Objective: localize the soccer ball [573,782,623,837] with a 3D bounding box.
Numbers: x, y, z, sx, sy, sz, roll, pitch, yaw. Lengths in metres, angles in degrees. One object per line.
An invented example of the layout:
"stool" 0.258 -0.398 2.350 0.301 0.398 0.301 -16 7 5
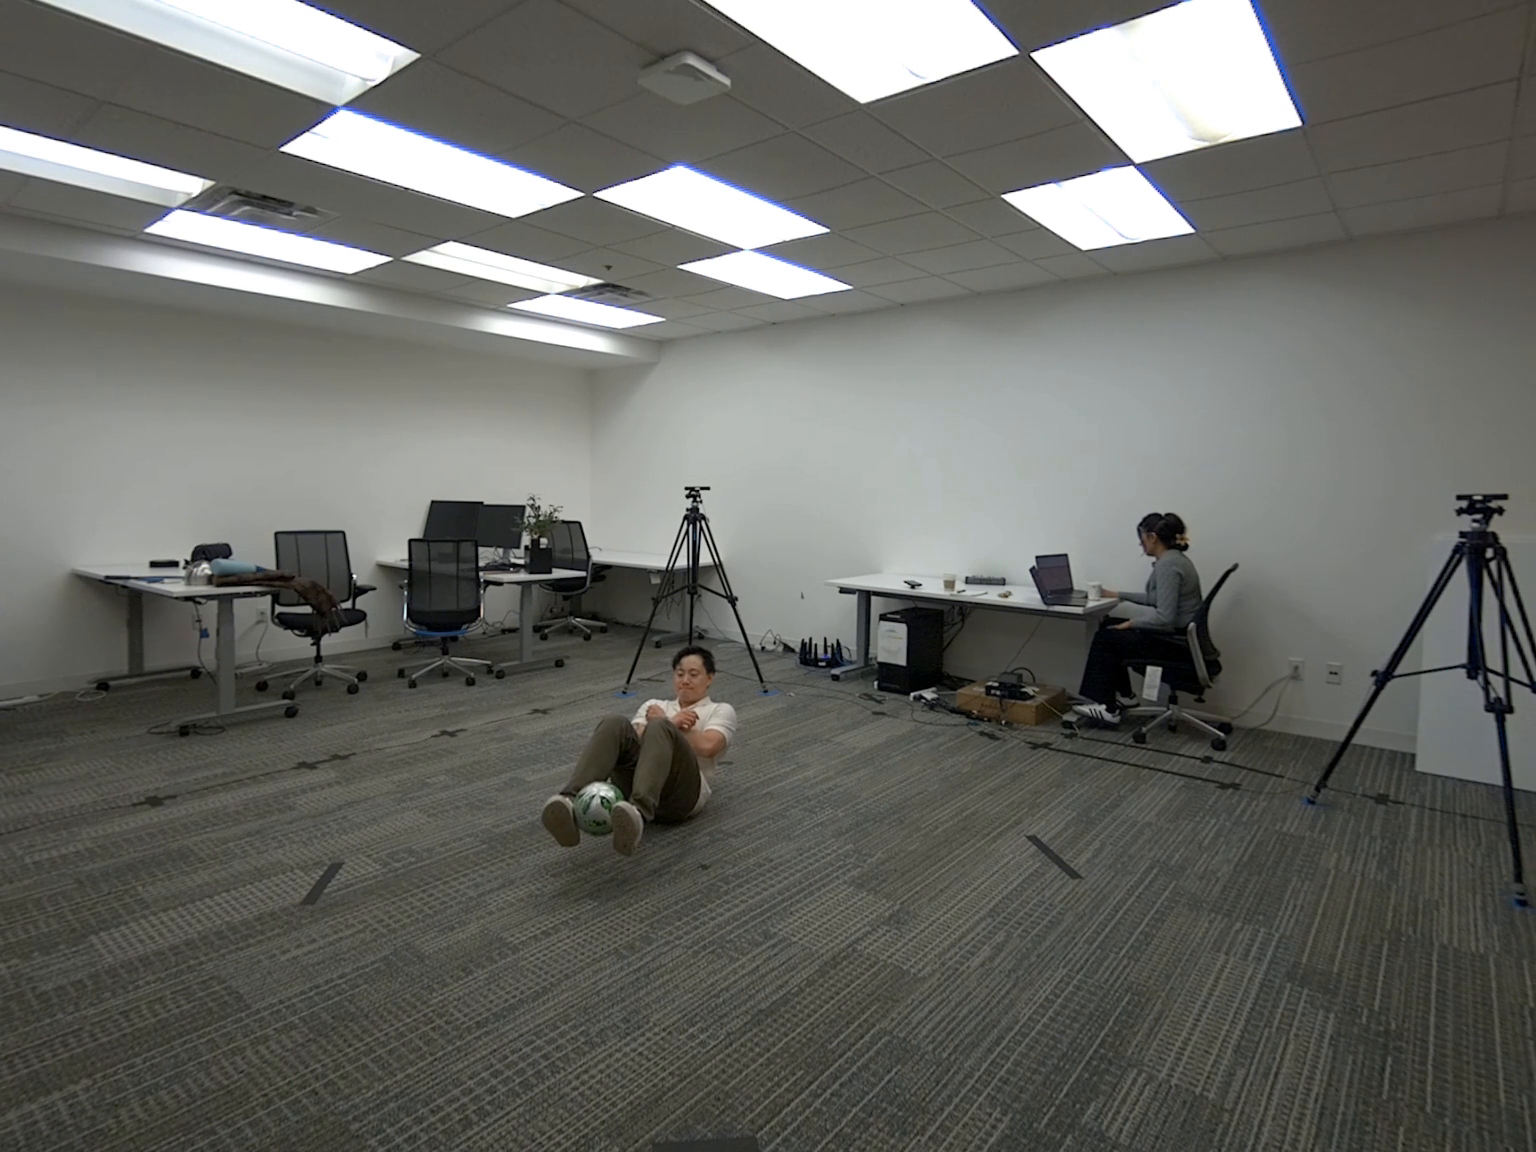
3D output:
"soccer ball" -0.617 0.823 3.023 0.187 0.187 0.188 1 4 -2
